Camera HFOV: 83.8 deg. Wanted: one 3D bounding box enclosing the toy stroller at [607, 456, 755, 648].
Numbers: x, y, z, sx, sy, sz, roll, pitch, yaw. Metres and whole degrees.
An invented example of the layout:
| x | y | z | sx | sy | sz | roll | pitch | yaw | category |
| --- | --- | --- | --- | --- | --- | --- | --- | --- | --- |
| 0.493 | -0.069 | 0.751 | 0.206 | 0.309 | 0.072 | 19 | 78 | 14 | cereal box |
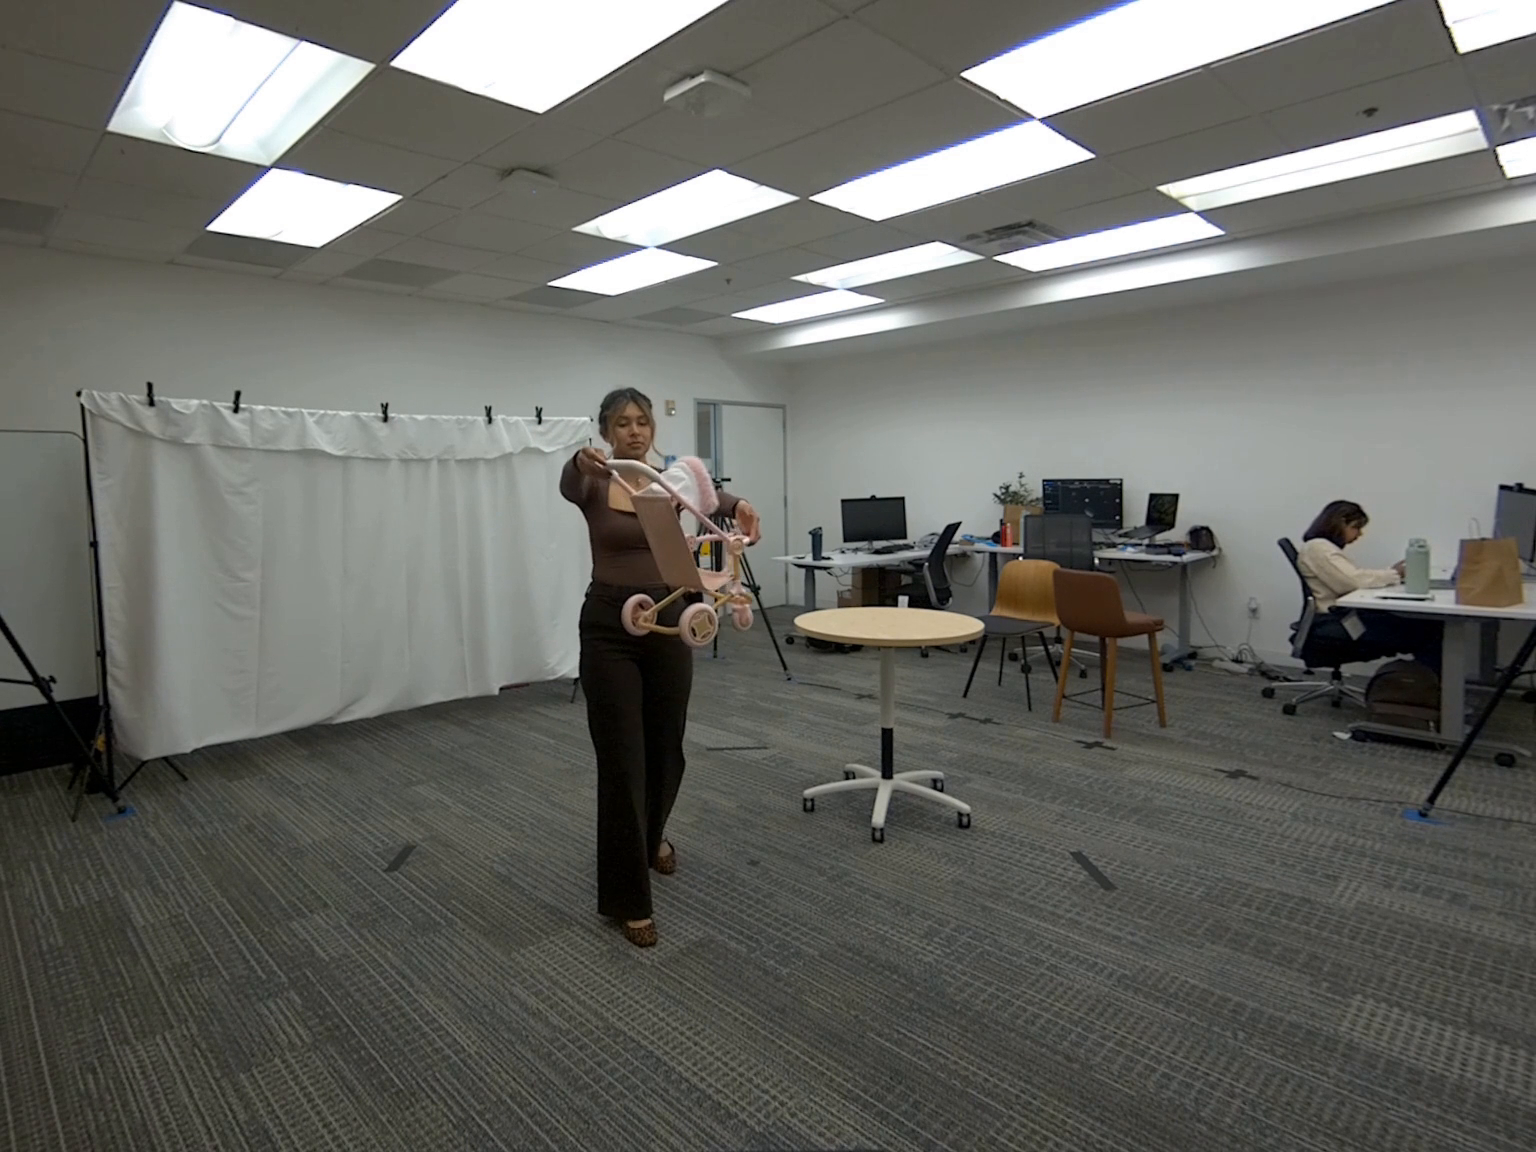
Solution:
| x | y | z | sx | sy | sz | roll | pitch | yaw | category |
| --- | --- | --- | --- | --- | --- | --- | --- | --- | --- |
| -0.194 | -0.066 | 2.216 | 0.335 | 0.529 | 0.290 | -18 | 14 | -34 | toy stroller |
